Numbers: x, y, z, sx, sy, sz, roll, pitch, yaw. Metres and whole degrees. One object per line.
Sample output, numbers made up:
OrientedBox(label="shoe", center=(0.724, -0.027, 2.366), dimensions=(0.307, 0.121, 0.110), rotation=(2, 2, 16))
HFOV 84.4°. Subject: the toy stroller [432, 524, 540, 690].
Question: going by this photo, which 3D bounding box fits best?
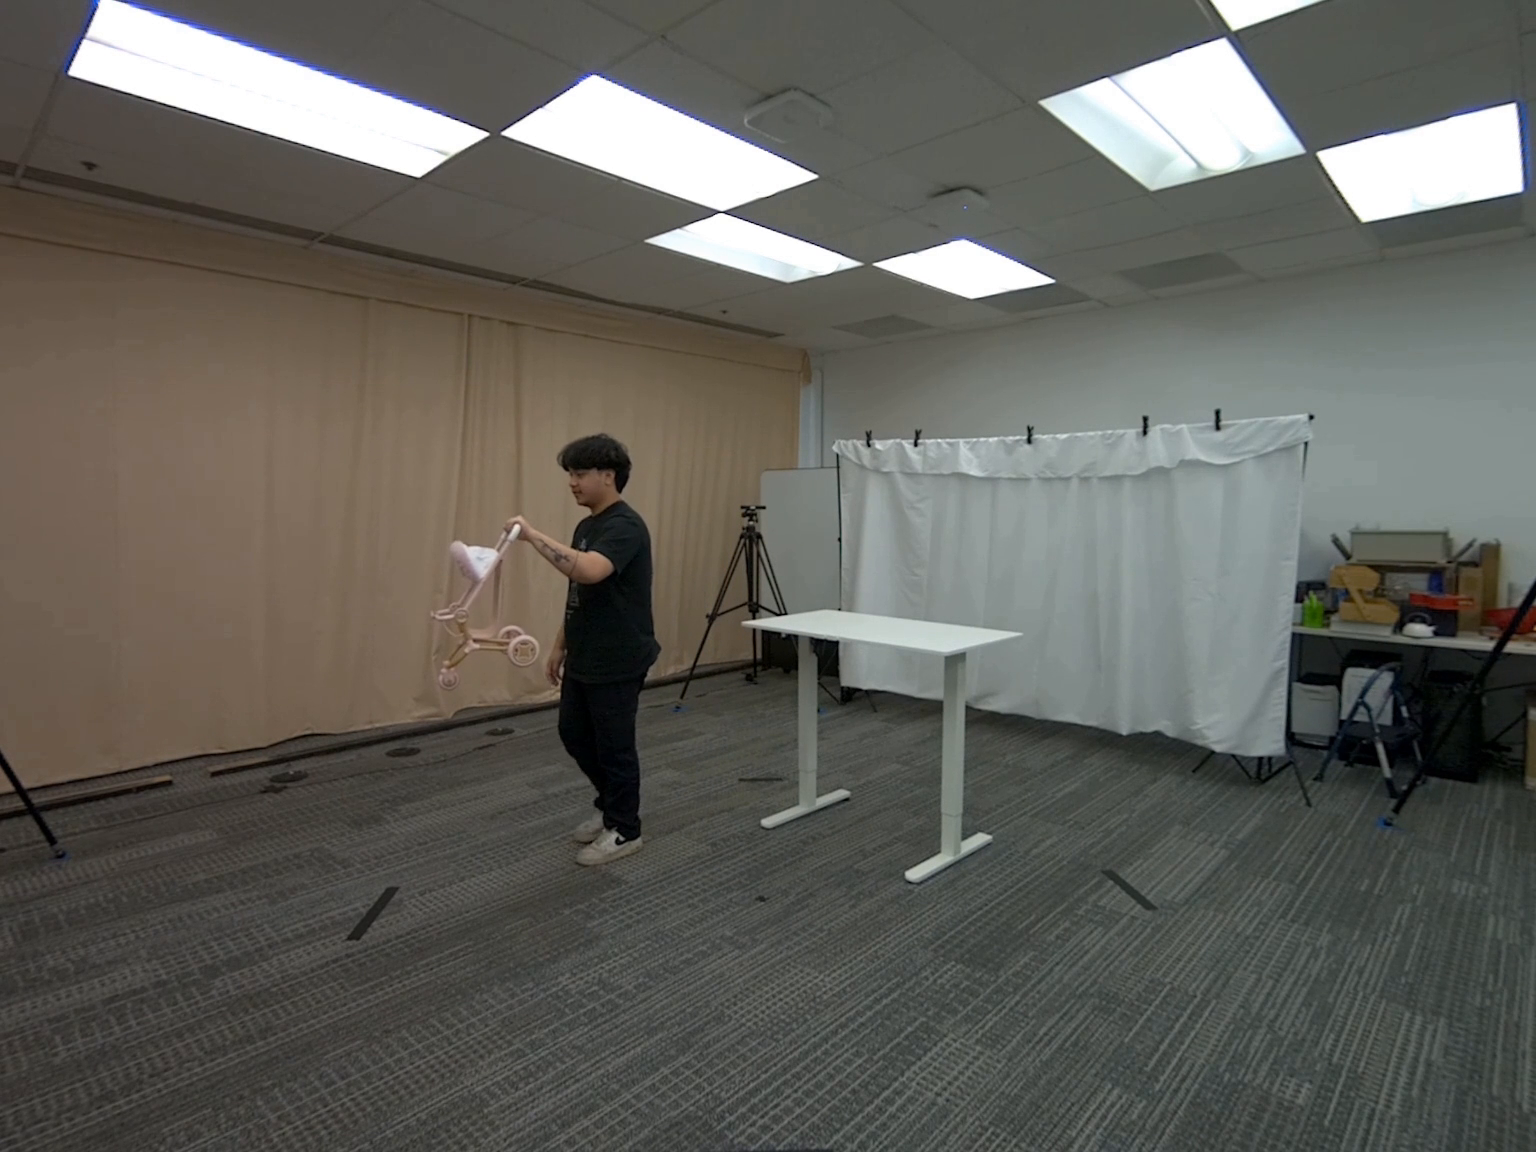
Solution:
OrientedBox(label="toy stroller", center=(-0.994, 0.109, 2.919), dimensions=(0.335, 0.532, 0.288), rotation=(-9, 7, -20))
